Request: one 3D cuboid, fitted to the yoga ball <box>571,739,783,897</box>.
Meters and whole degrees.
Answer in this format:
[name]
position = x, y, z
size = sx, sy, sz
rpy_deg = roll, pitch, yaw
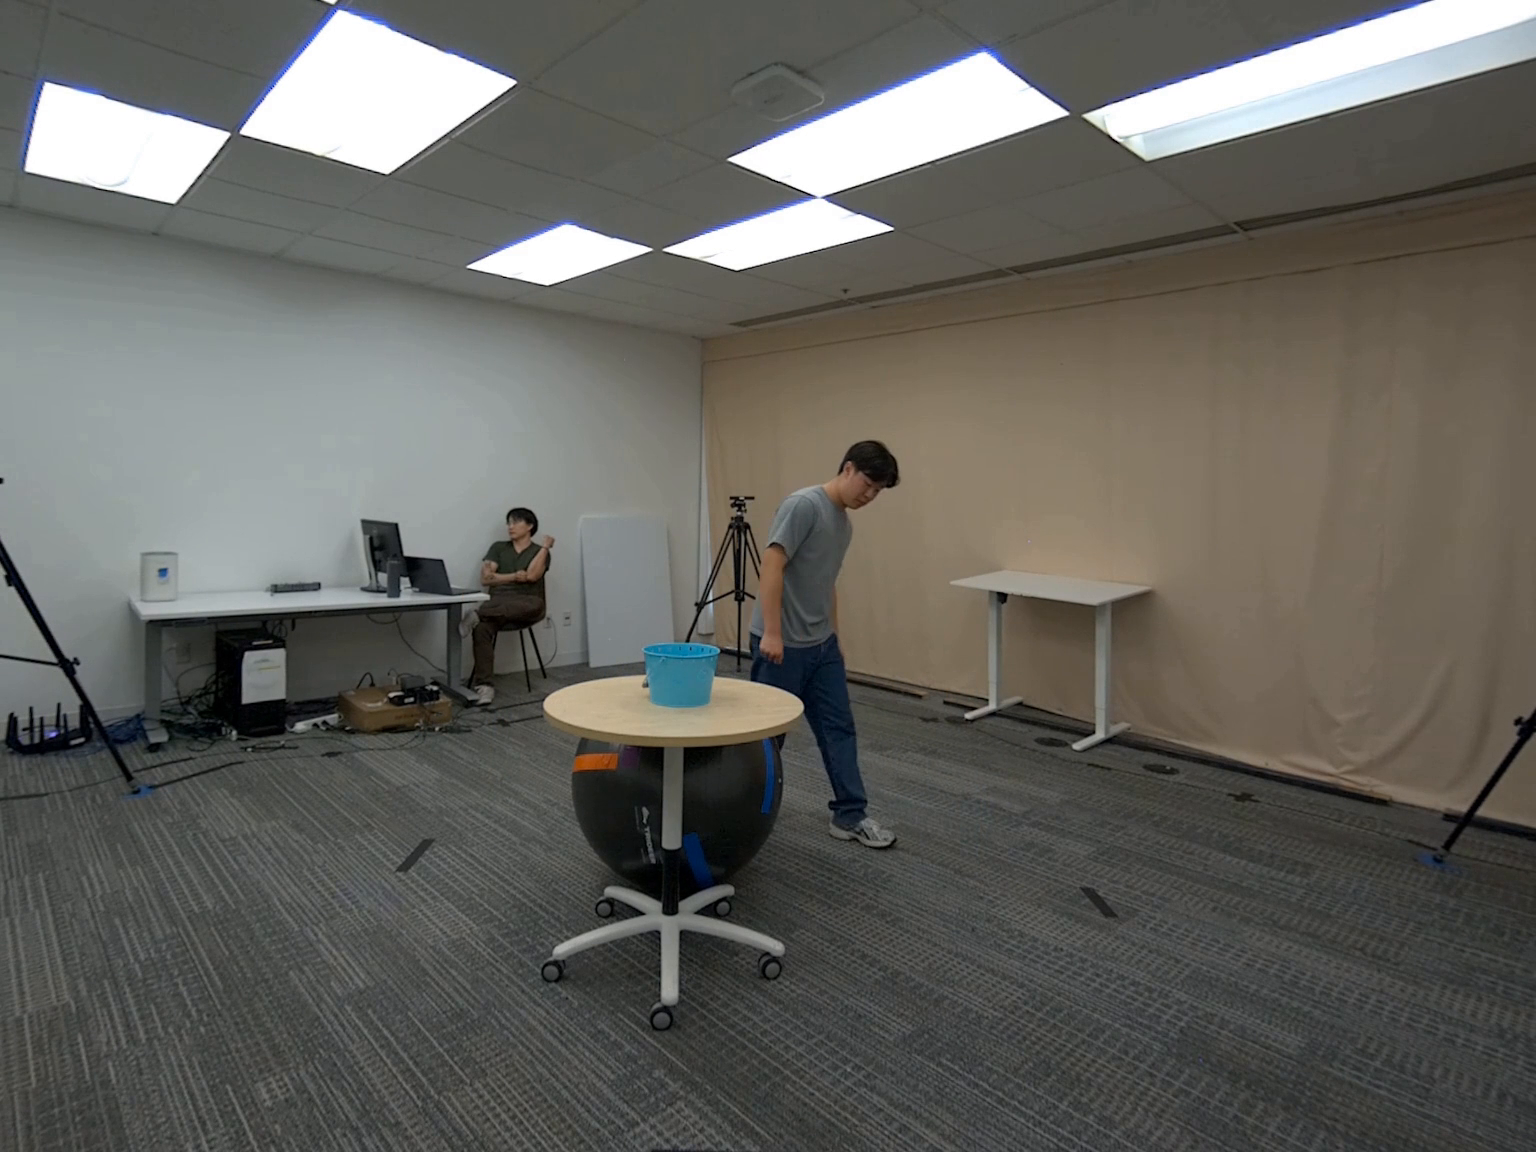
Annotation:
[yoga ball]
position = -0.335, 0.736, 3.034
size = 0.757, 0.756, 0.761
rpy_deg = 1, 4, -1
